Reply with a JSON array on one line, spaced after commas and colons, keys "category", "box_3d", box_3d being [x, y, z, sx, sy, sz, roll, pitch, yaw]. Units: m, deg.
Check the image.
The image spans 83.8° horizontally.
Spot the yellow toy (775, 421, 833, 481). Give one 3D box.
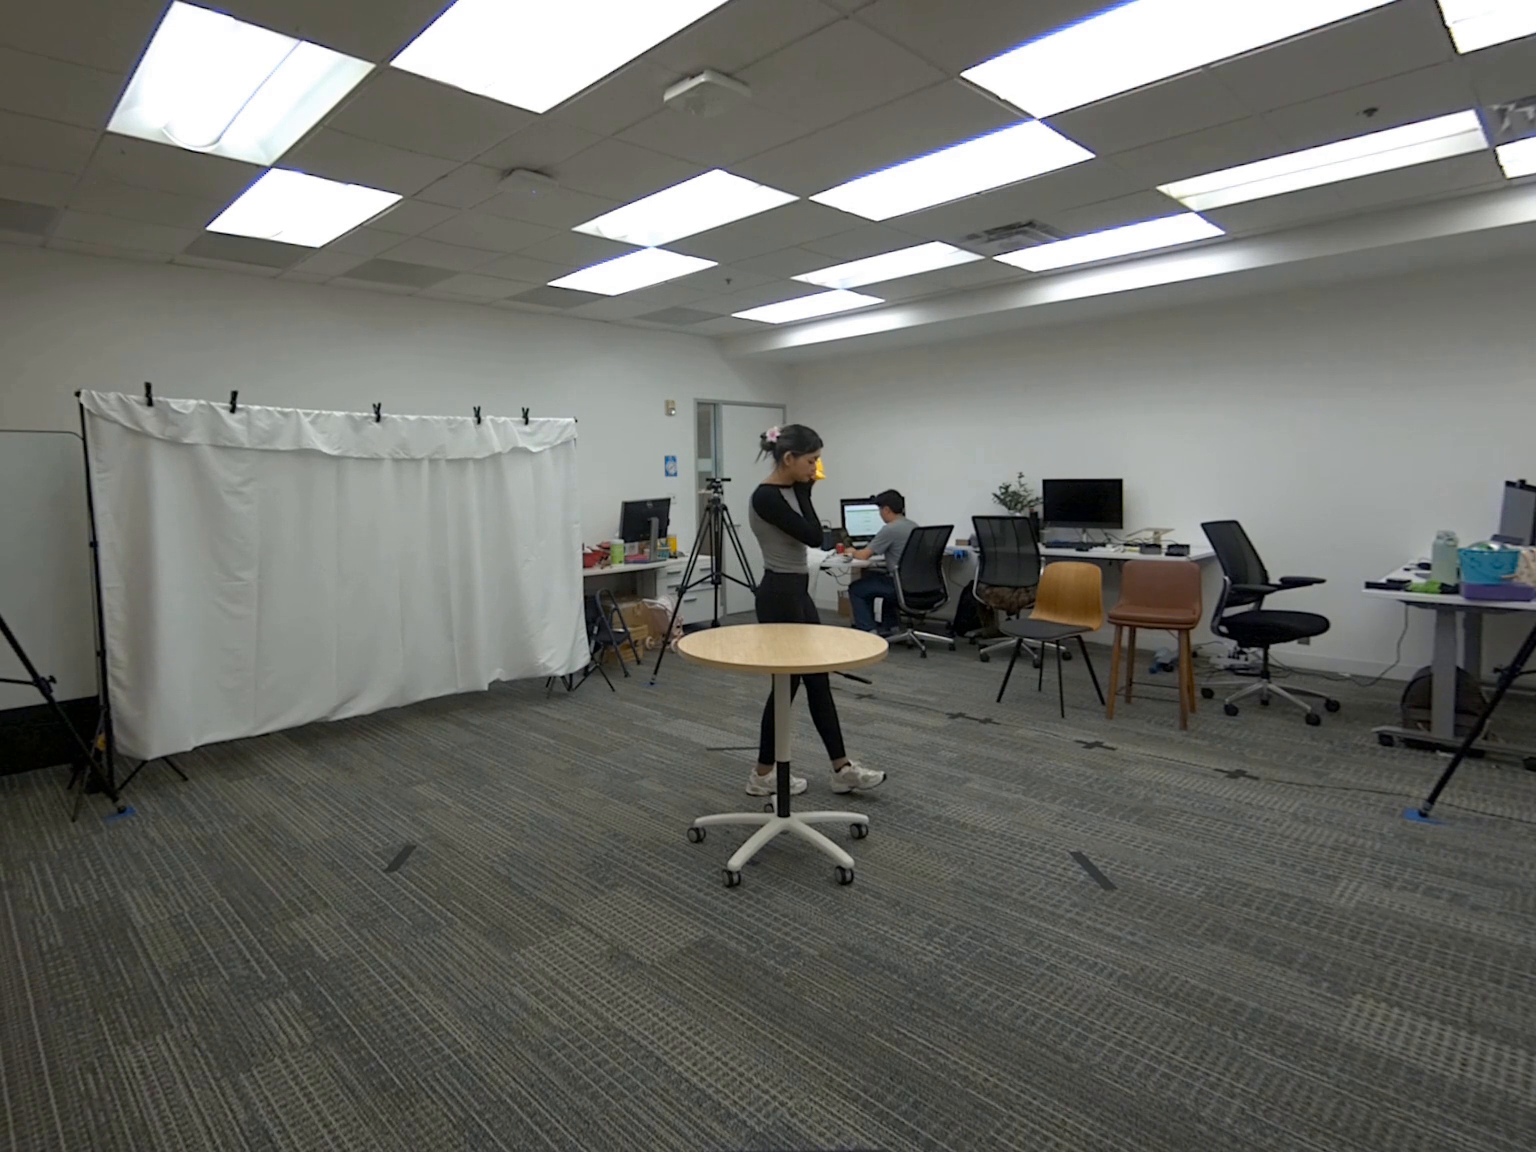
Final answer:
[{"category": "yellow toy", "box_3d": [0.163, -0.557, 3.867, 0.196, 0.231, 0.201, -5, -2, 19]}]
